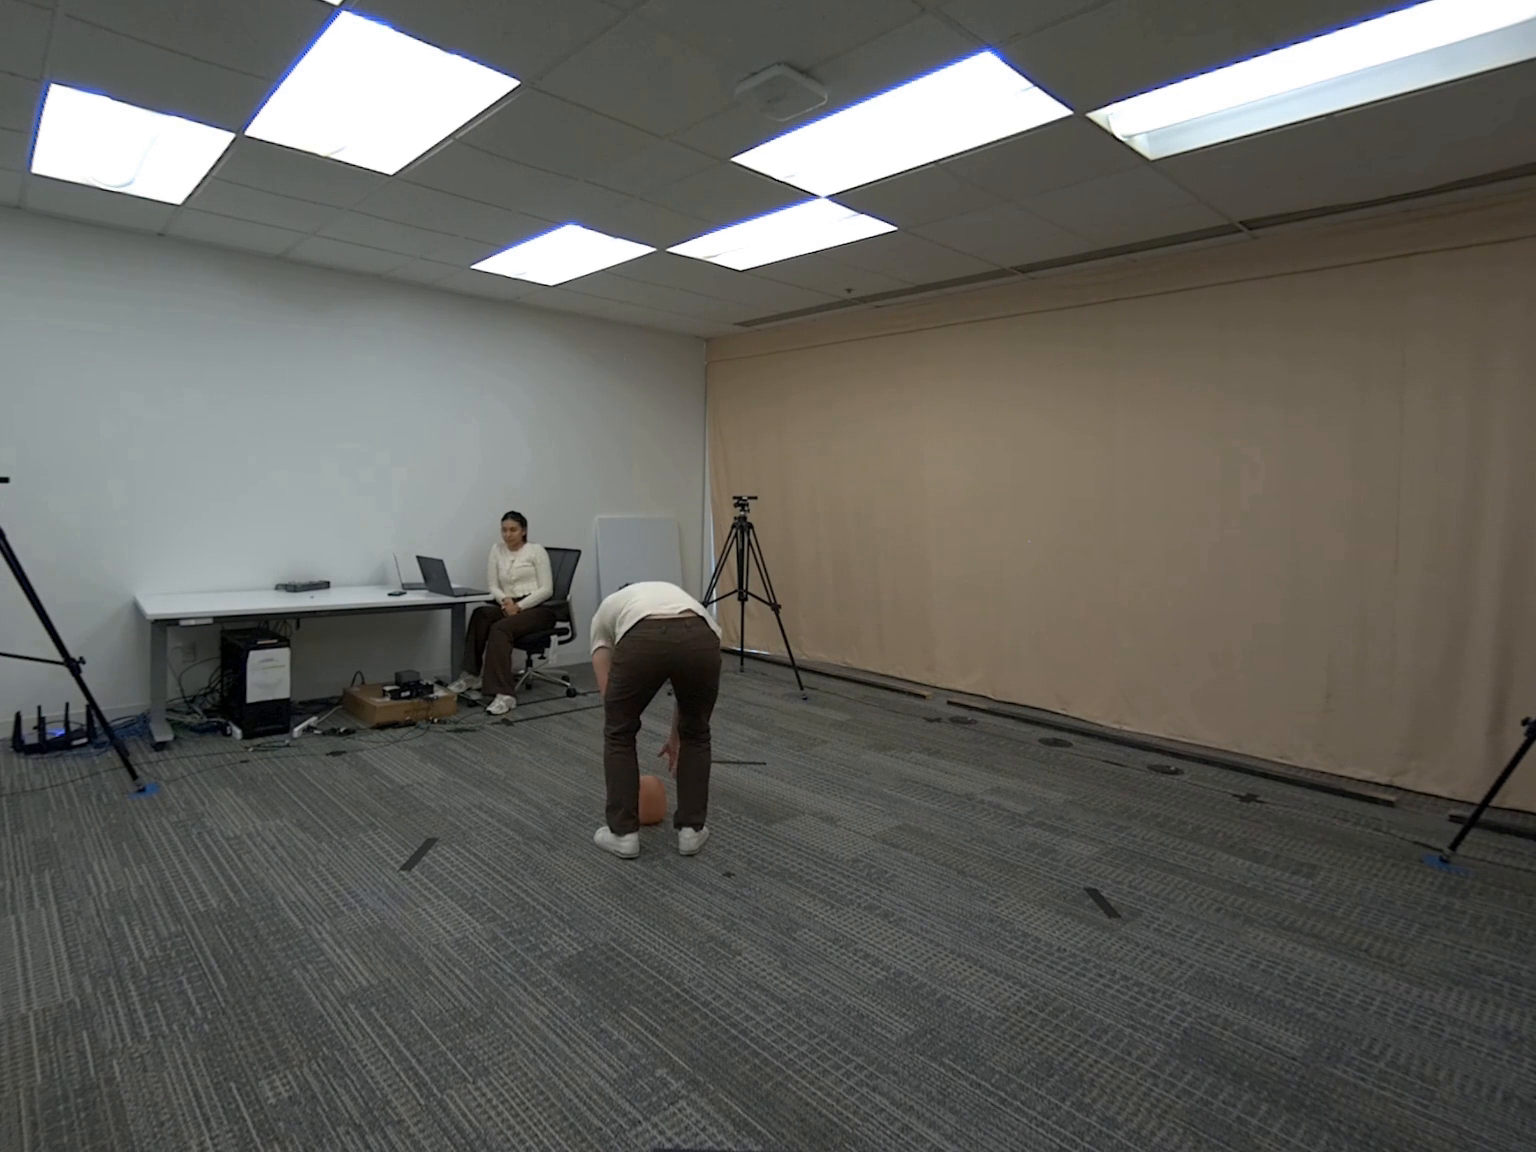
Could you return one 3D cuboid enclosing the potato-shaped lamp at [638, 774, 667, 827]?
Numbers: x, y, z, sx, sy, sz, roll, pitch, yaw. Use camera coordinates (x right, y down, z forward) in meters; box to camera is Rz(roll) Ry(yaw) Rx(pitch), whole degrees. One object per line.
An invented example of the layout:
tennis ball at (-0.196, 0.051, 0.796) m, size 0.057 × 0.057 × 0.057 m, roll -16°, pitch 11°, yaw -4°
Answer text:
potato-shaped lamp at (-0.522, 0.951, 3.602) m, size 0.162 × 0.197 × 0.174 m, roll 1°, pitch 4°, yaw -20°
